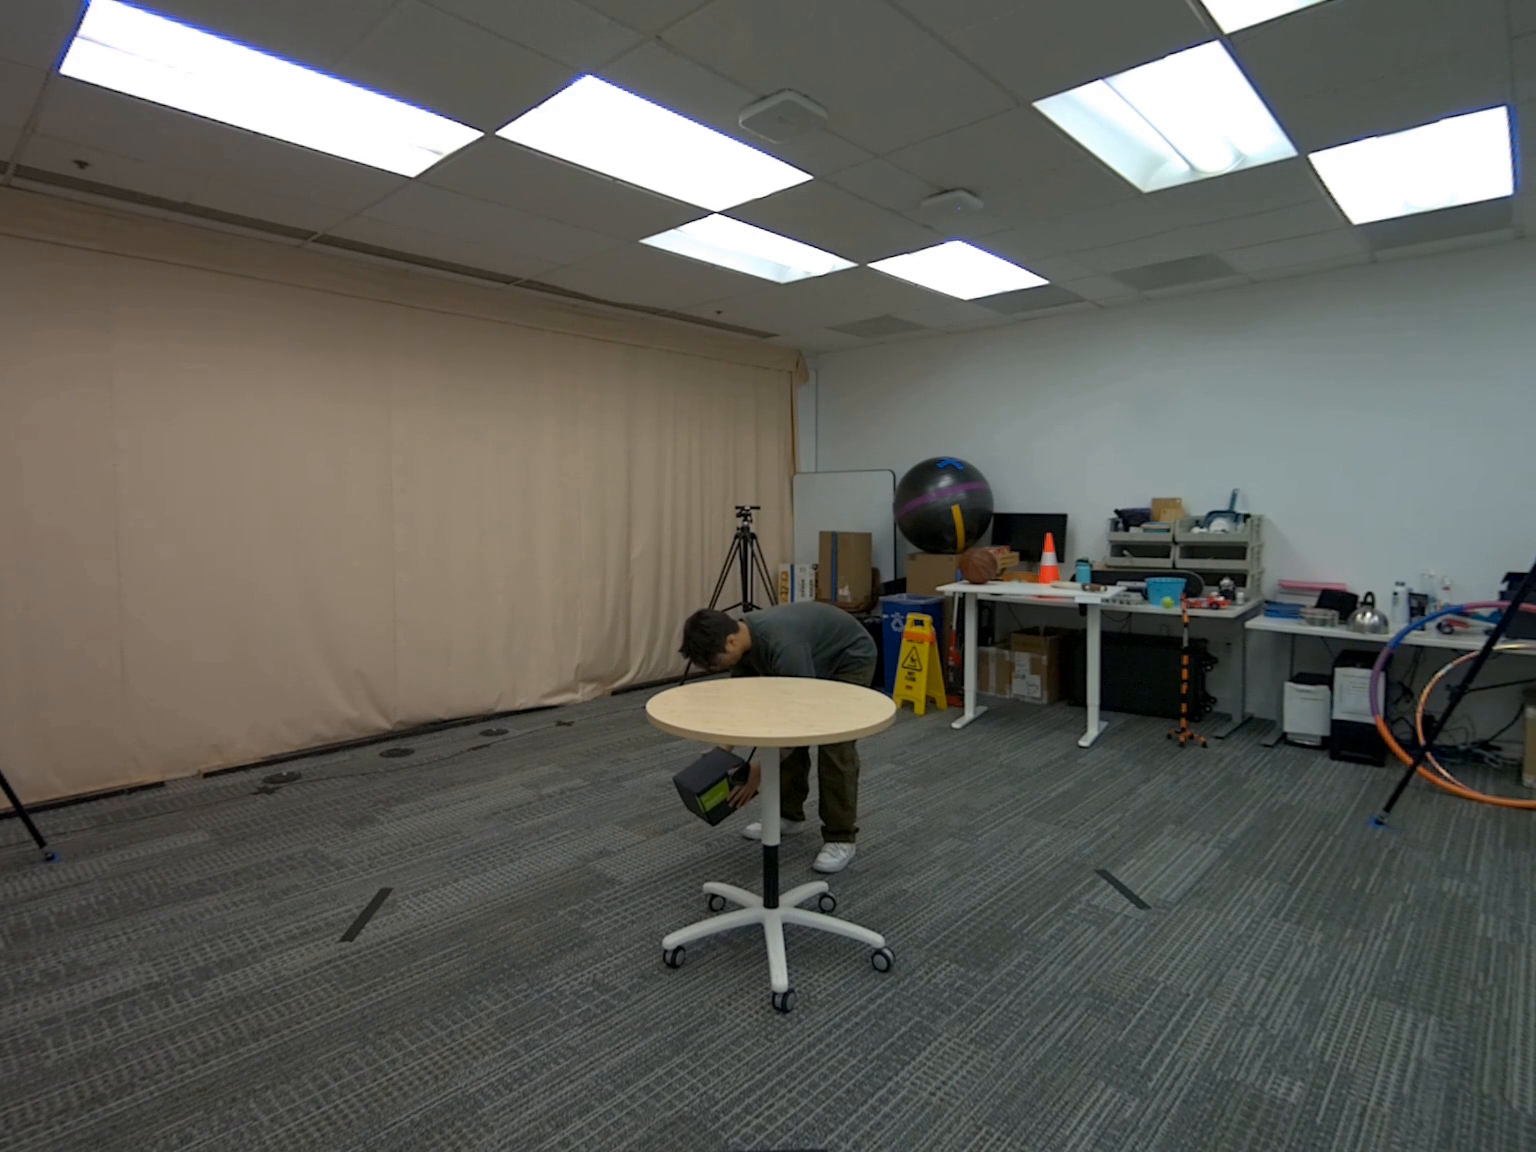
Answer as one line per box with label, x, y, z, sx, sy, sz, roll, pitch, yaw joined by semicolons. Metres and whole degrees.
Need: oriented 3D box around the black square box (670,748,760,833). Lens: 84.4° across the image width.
black square box;-0.207;0.813;3.245;0.225;0.153;0.223;-31;19;-26
